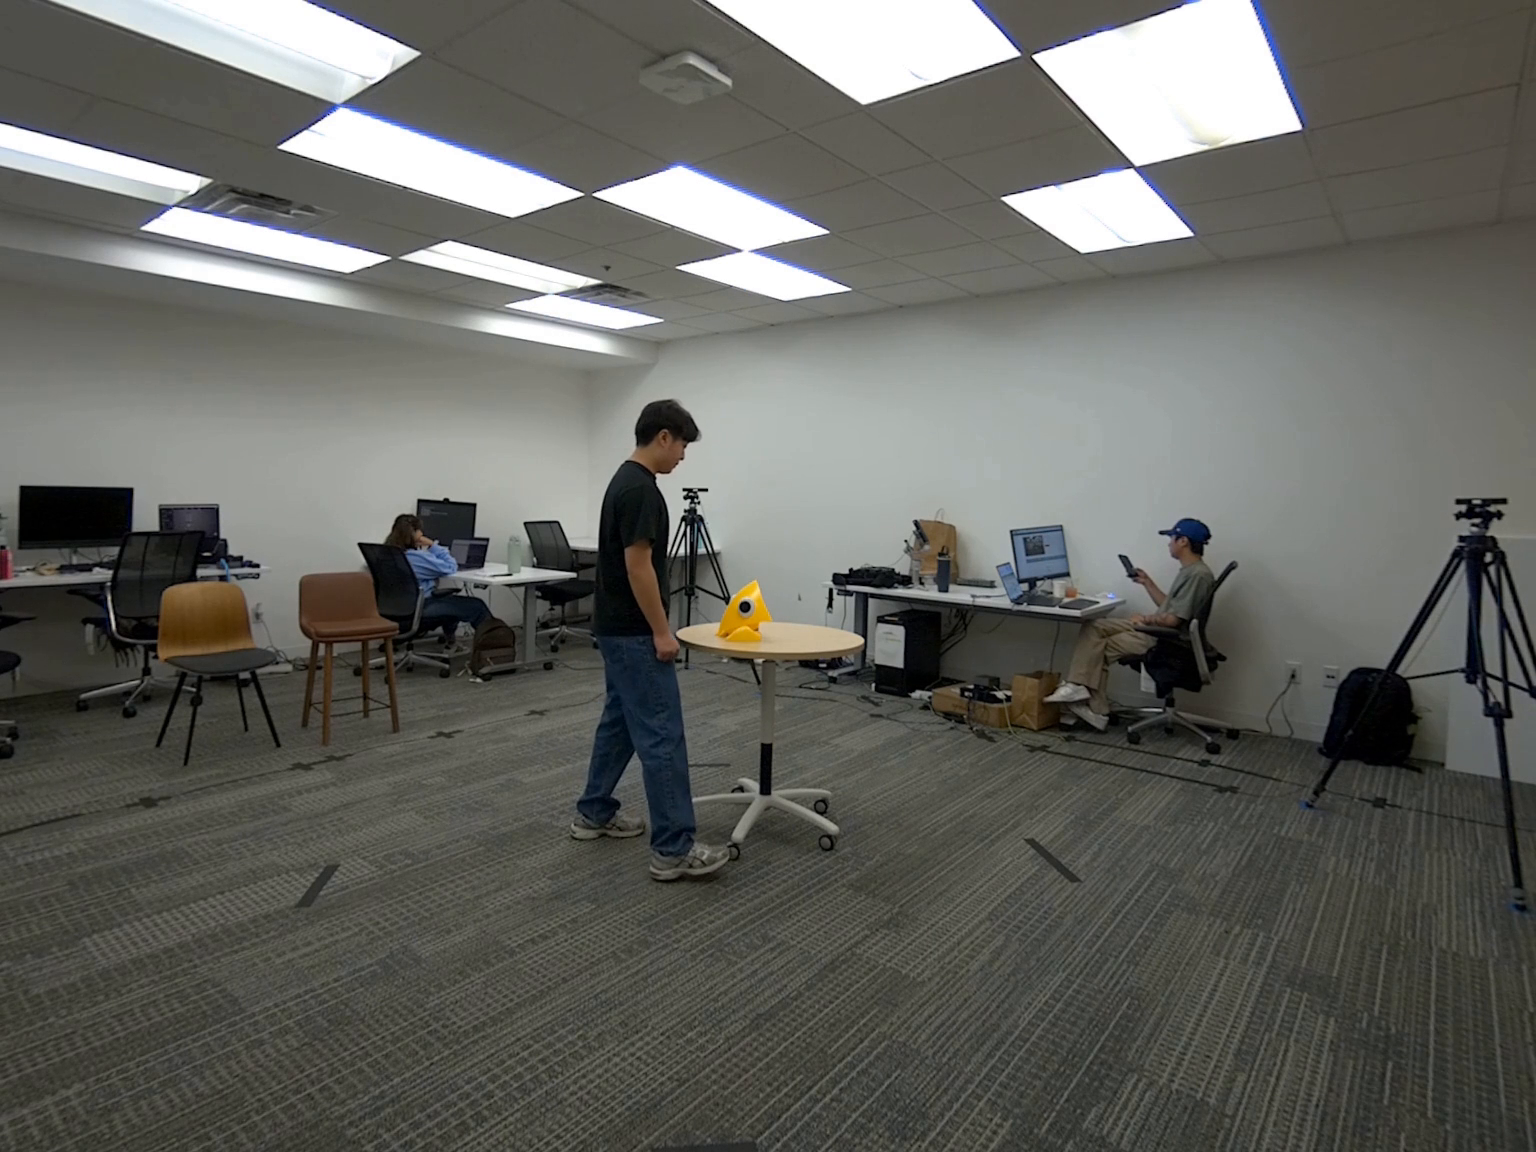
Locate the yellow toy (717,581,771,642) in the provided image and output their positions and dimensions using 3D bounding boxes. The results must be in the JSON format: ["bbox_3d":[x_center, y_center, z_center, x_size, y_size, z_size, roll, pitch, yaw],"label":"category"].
[{"bbox_3d":[-0.117,0.133,3.420,0.189,0.230,0.210,-1,4,-22],"label":"yellow toy"}]
